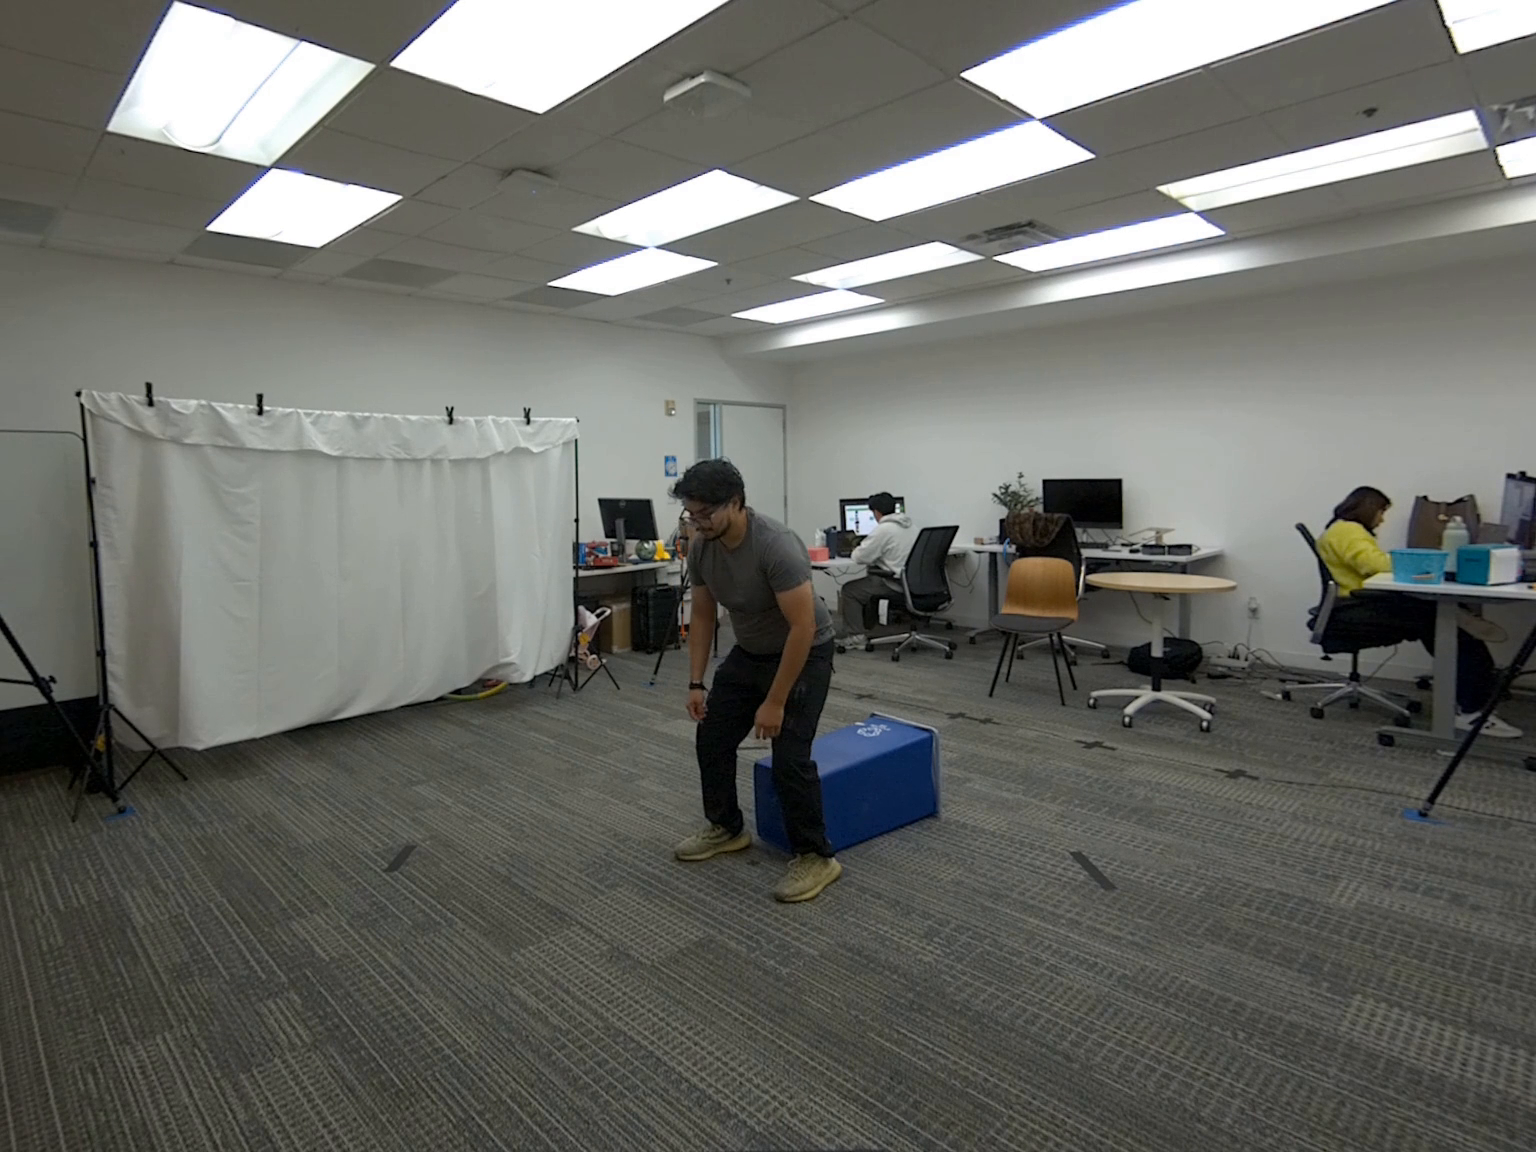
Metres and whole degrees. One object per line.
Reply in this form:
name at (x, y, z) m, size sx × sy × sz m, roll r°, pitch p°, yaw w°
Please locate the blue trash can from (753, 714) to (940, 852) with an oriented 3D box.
blue trash can at (0.320, 0.824, 3.408) m, size 0.696 × 0.372 × 0.389 m, roll -8°, pitch 8°, yaw -39°
